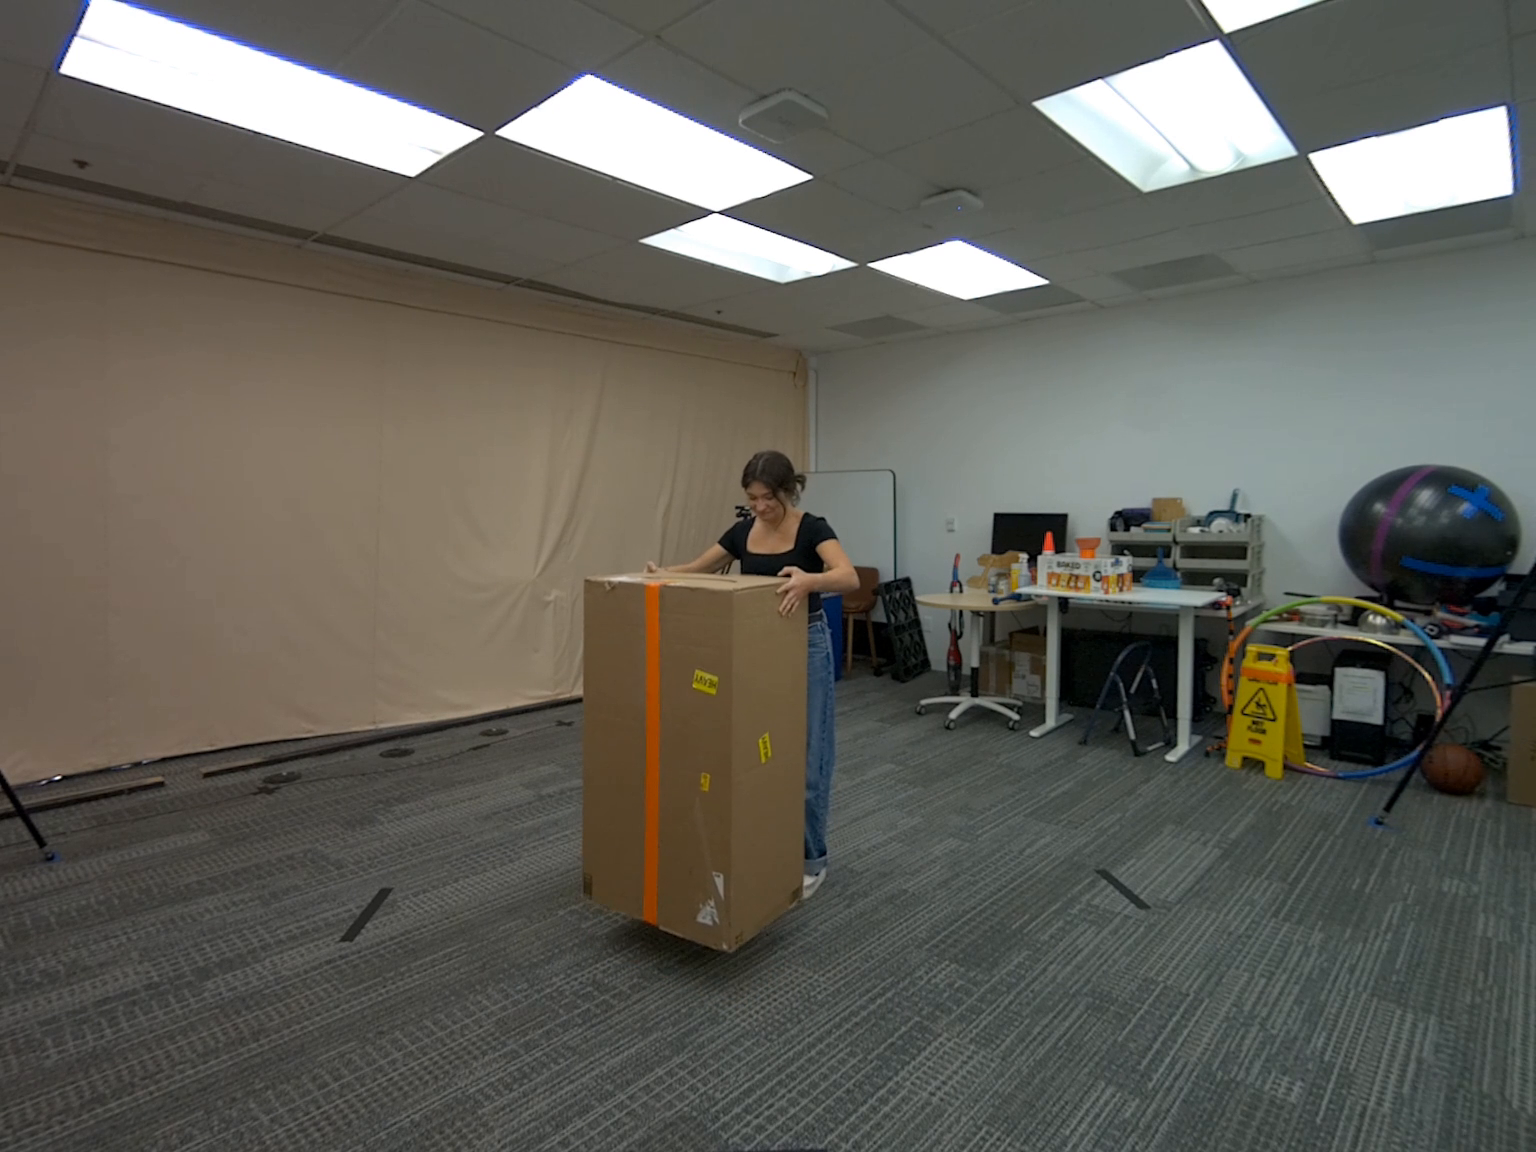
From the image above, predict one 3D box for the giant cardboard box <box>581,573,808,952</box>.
[{"bbox_3d":[-0.235,0.523,2.652,0.595,1.024,0.414,2,3,34],"label":"giant cardboard box"}]
